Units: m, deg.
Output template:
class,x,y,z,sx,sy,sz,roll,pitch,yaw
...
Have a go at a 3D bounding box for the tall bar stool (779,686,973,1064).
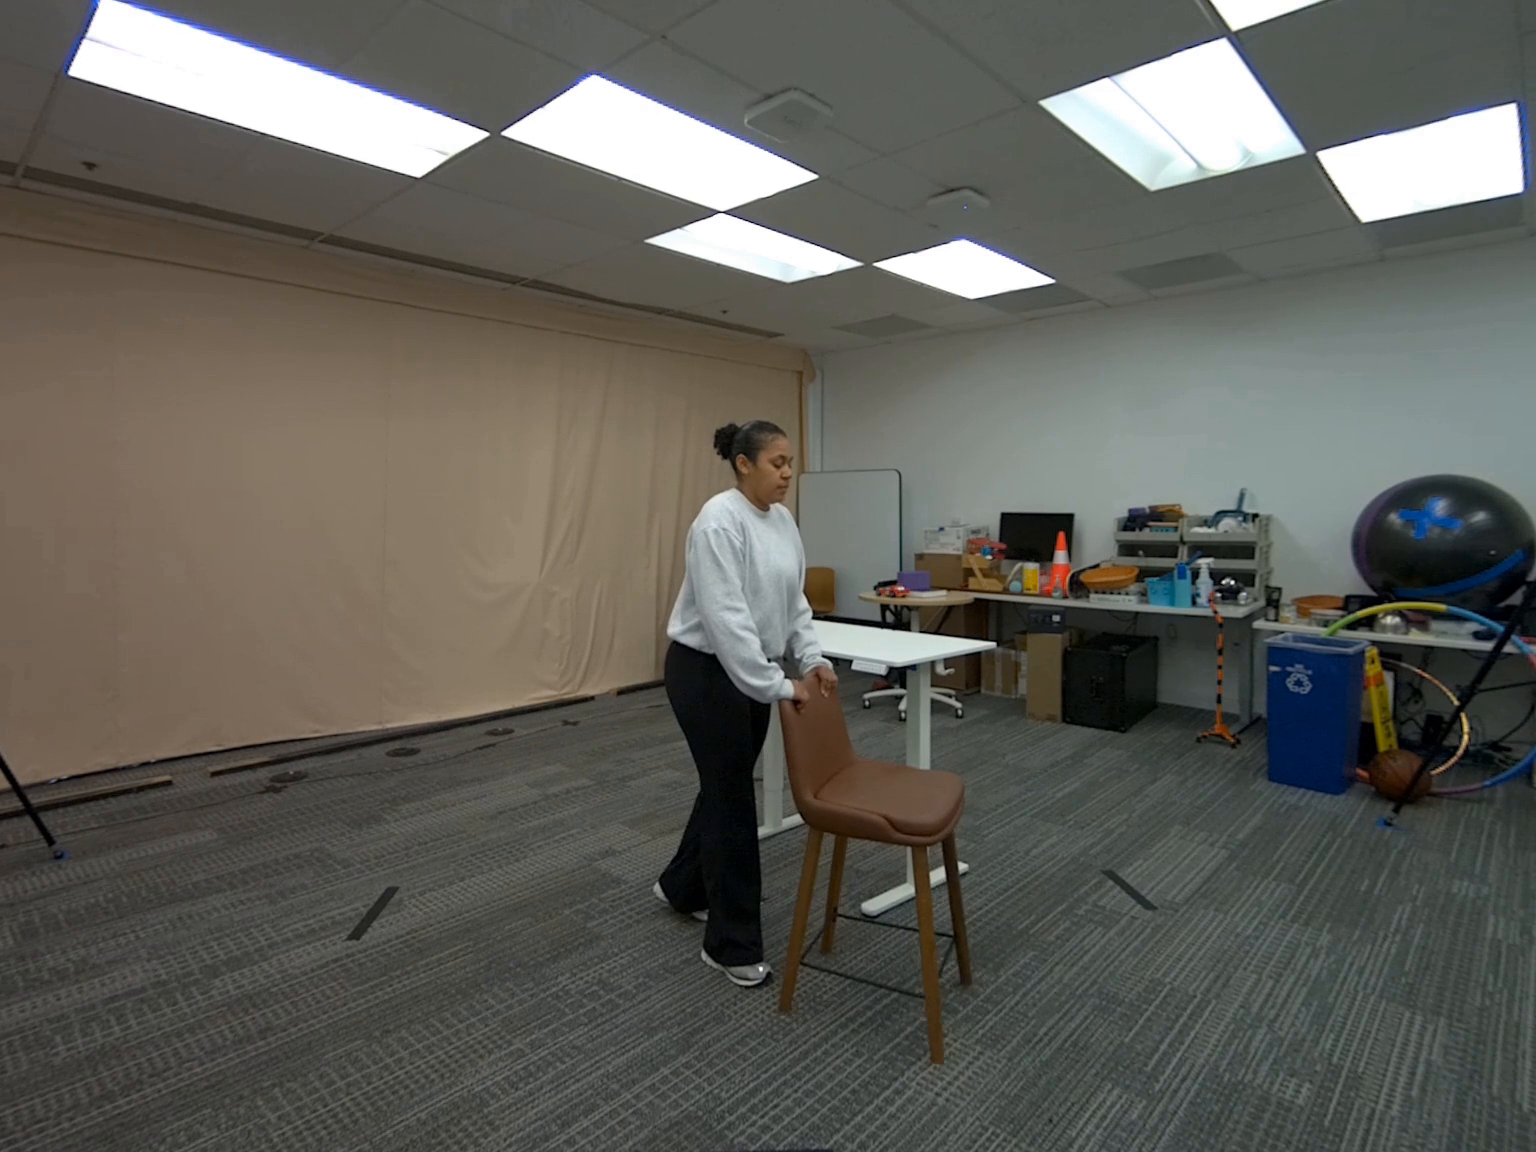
class,x,y,z,sx,sy,sz,roll,pitch,yaw
tall bar stool,0.306,0.763,2.357,0.480,0.888,0.445,-1,2,26
